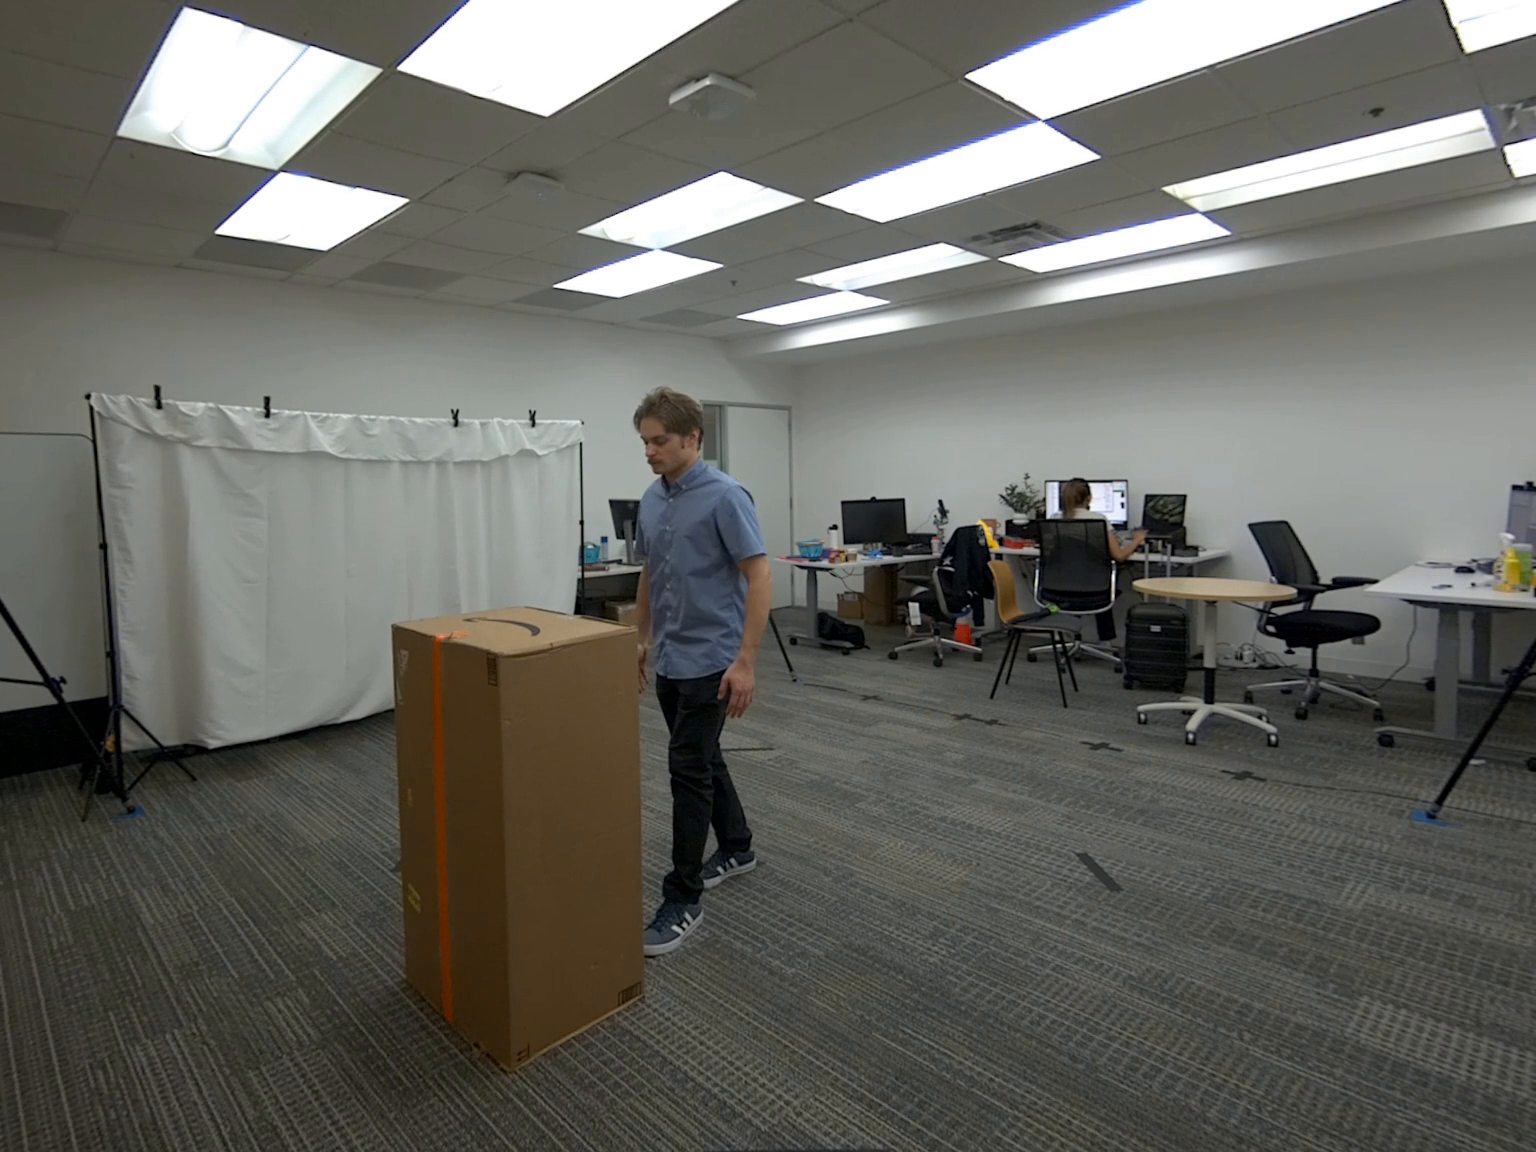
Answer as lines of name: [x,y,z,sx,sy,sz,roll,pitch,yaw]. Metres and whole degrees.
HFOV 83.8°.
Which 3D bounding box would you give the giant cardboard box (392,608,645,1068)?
giant cardboard box: [-0.686,0.640,2.339,0.595,1.022,0.415,4,6,44]
